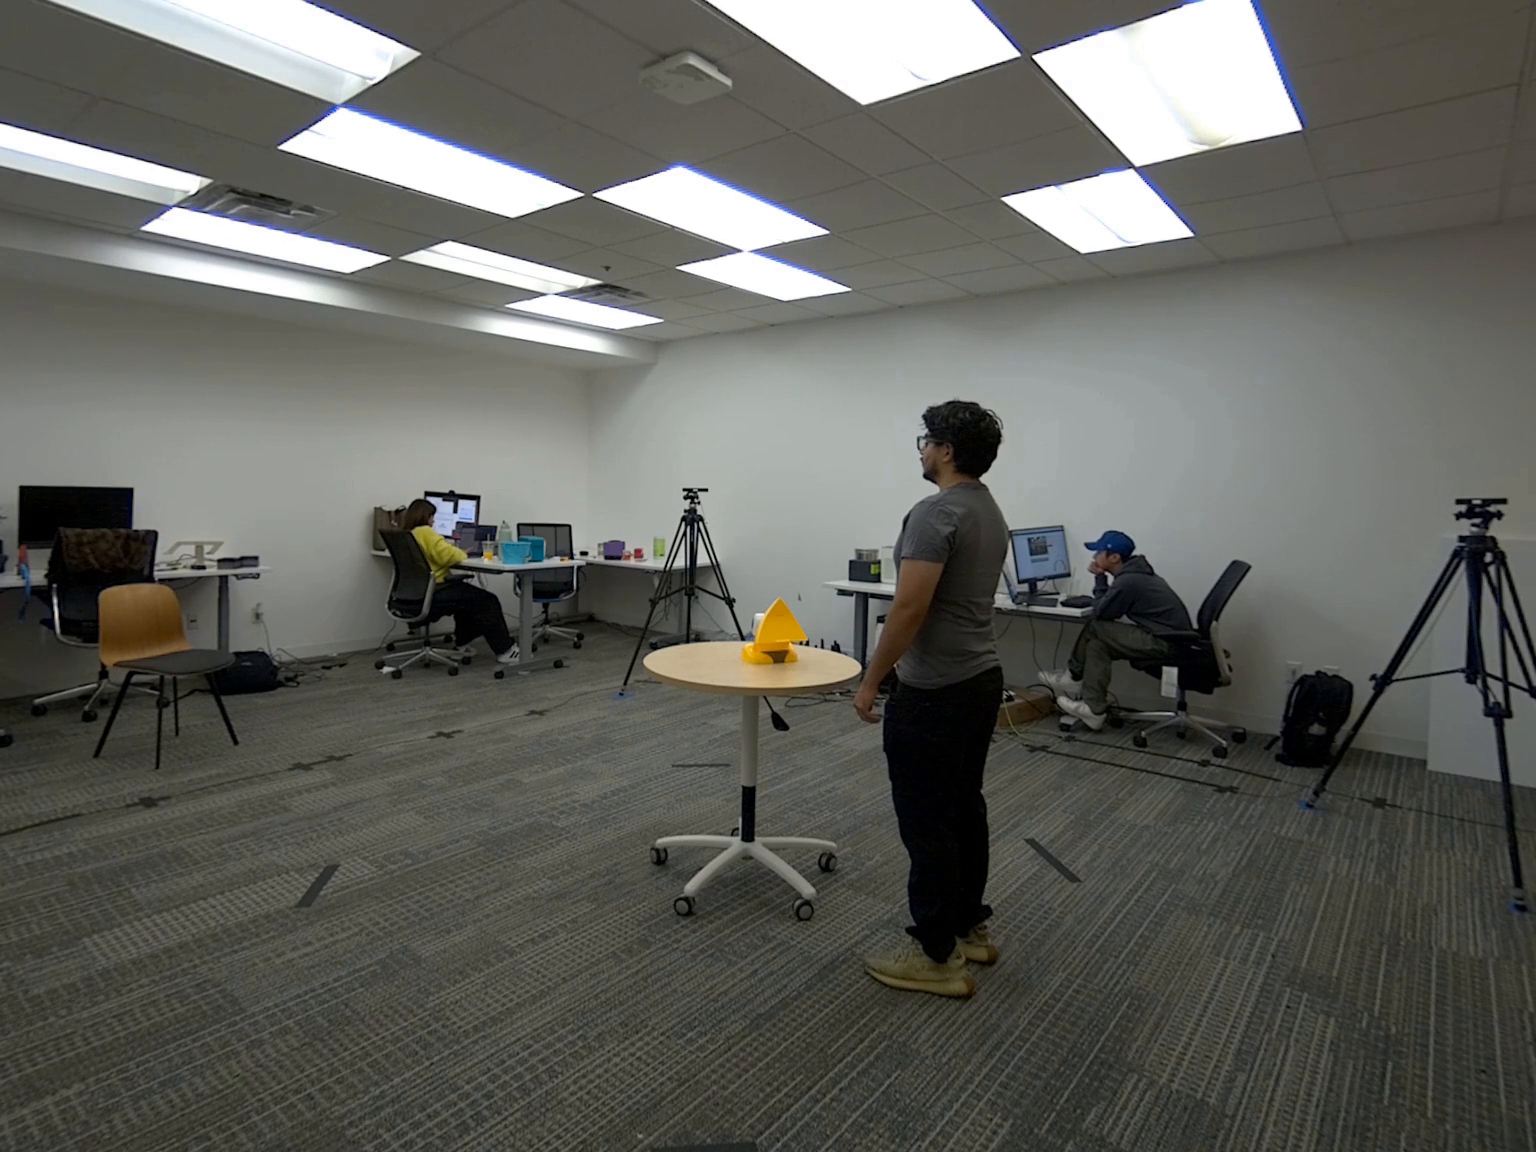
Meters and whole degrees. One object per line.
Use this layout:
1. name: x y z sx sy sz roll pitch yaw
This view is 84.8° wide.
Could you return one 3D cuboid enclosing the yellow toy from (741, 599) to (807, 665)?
1. yellow toy: -0.001 0.183 3.049 0.200 0.230 0.198 -1 5 -27
